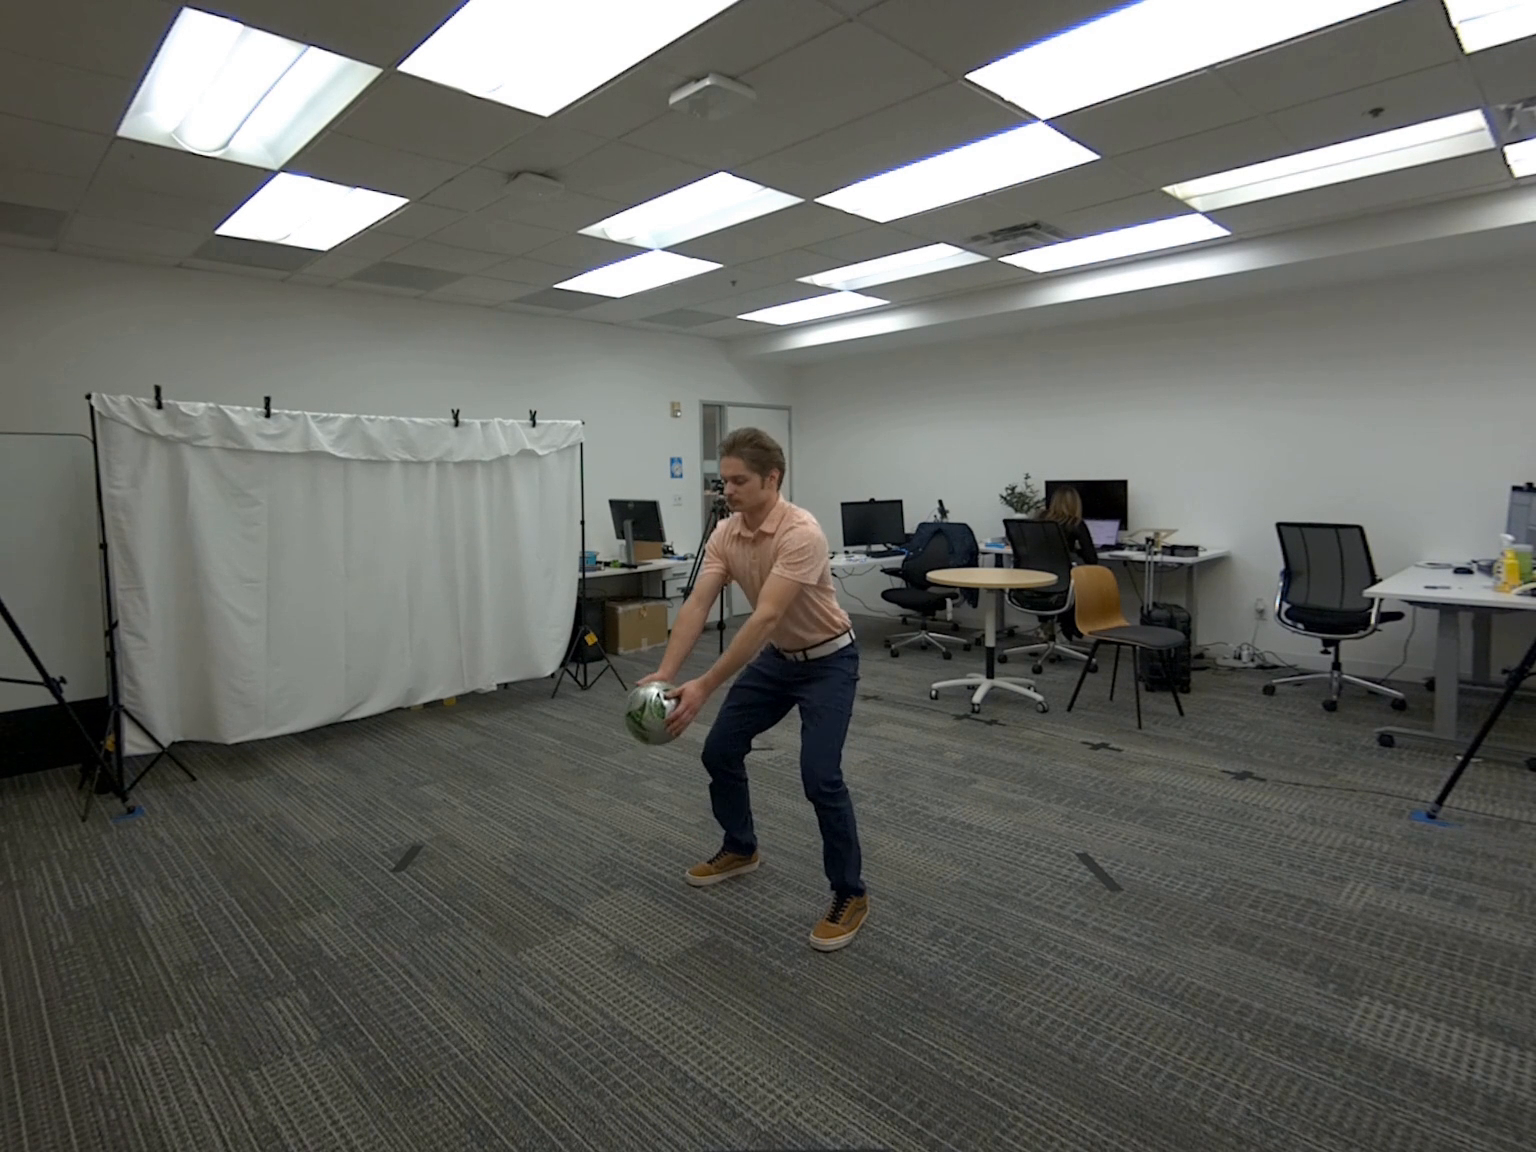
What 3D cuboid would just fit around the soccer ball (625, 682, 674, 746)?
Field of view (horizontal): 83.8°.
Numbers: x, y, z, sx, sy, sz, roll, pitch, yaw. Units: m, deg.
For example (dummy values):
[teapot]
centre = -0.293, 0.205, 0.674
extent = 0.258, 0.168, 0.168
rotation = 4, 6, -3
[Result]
[soccer ball]
centre = -0.317, 0.417, 2.500
extent = 0.187, 0.187, 0.188
rotation = -1, 5, -2
